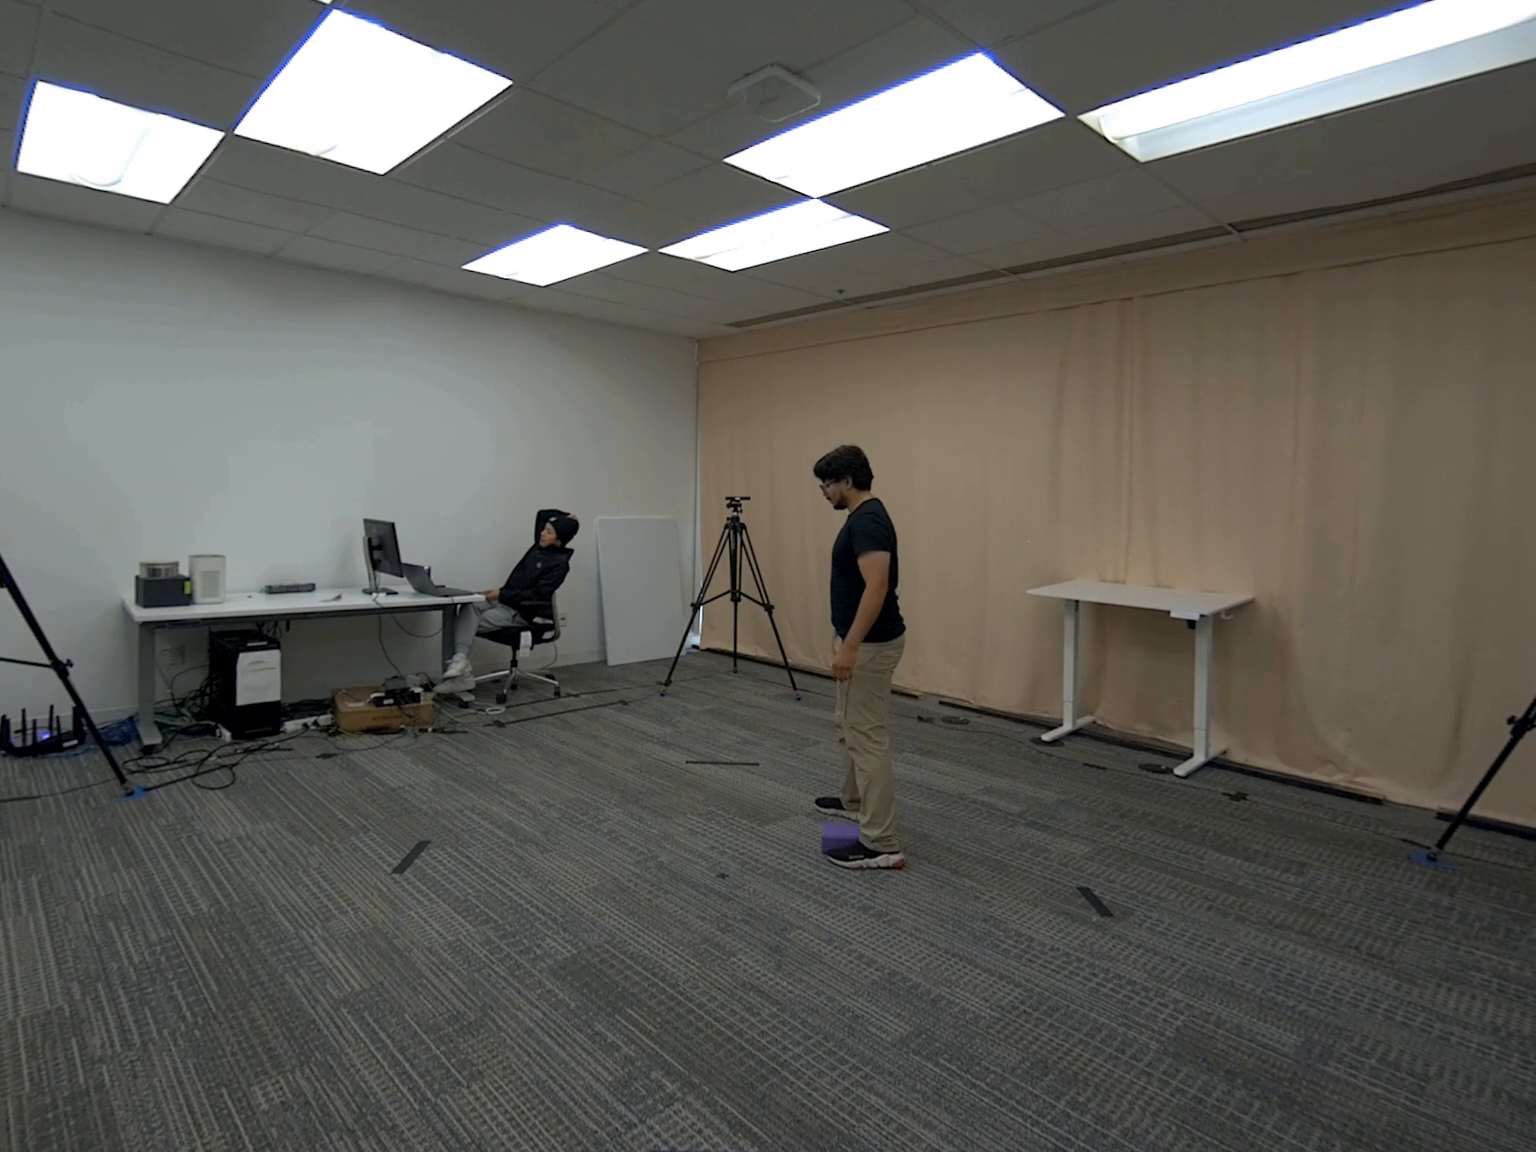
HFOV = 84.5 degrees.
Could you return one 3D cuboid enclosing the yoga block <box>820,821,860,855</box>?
[{"bbox_3d":[0.316,1.049,3.378,0.230,0.076,0.148,2,4,6],"label":"yoga block"}]
